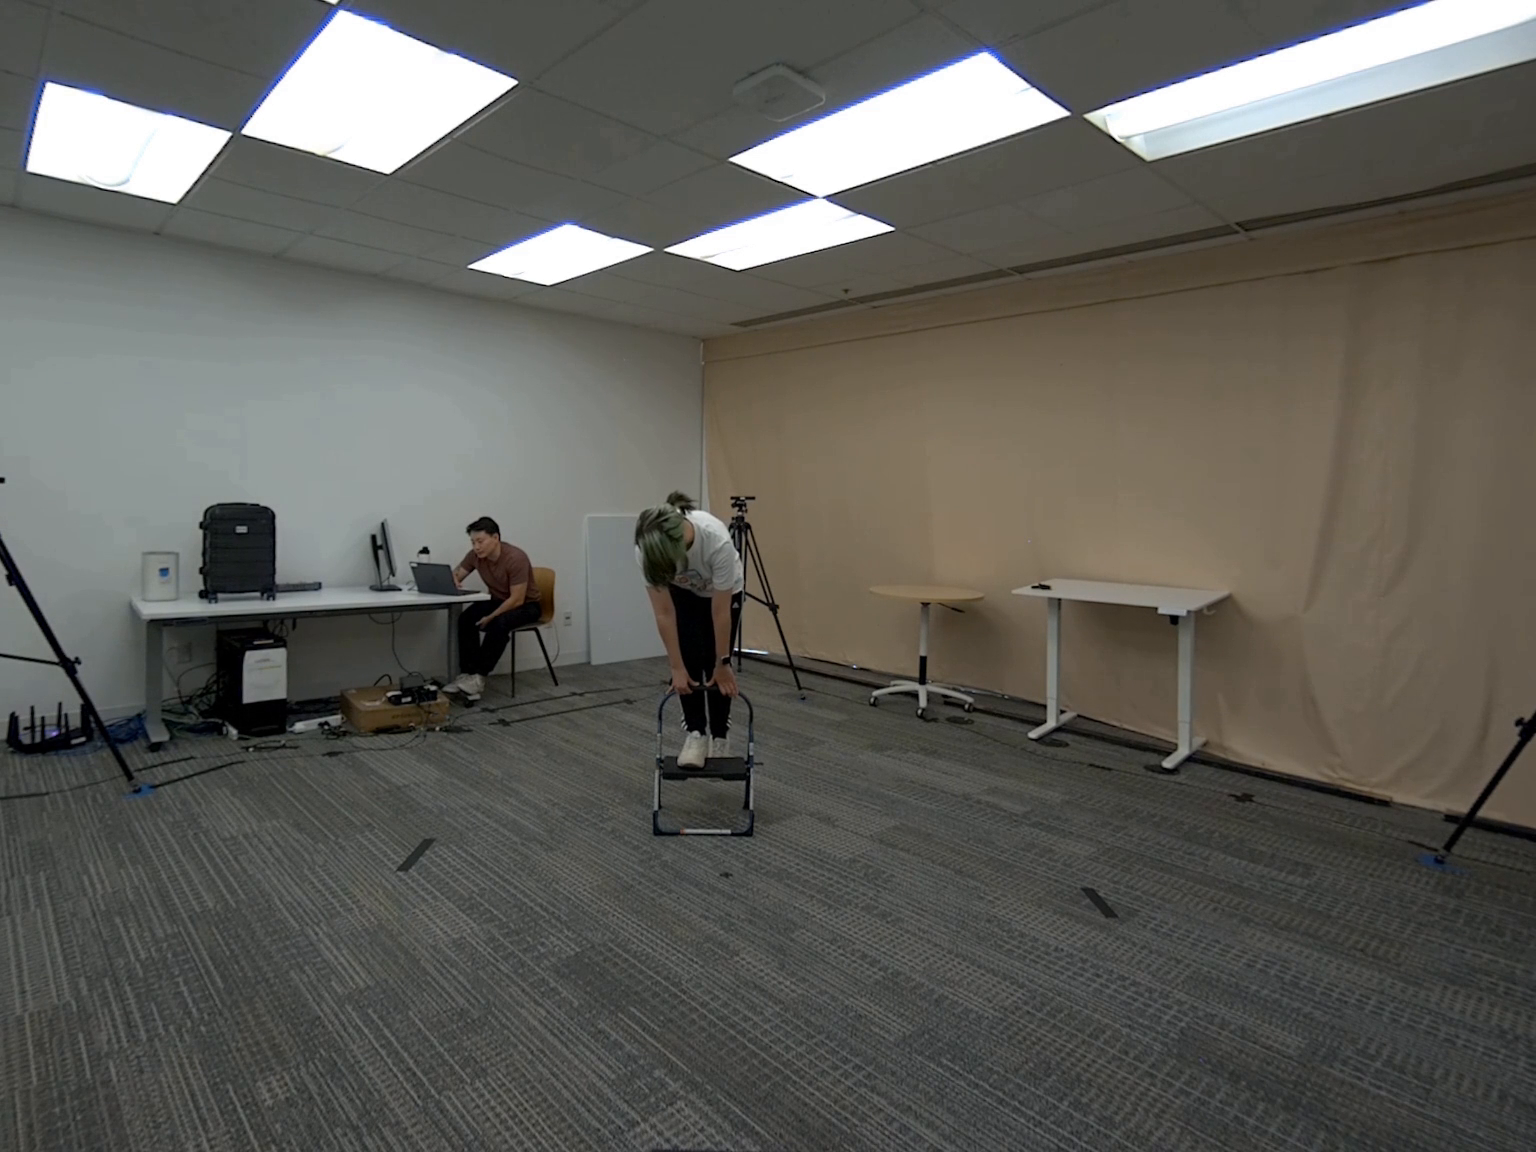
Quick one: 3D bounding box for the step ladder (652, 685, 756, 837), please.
[{"bbox_3d":[-0.280,0.760,3.615,0.429,0.605,0.351,2,3,-4],"label":"step ladder"}]
